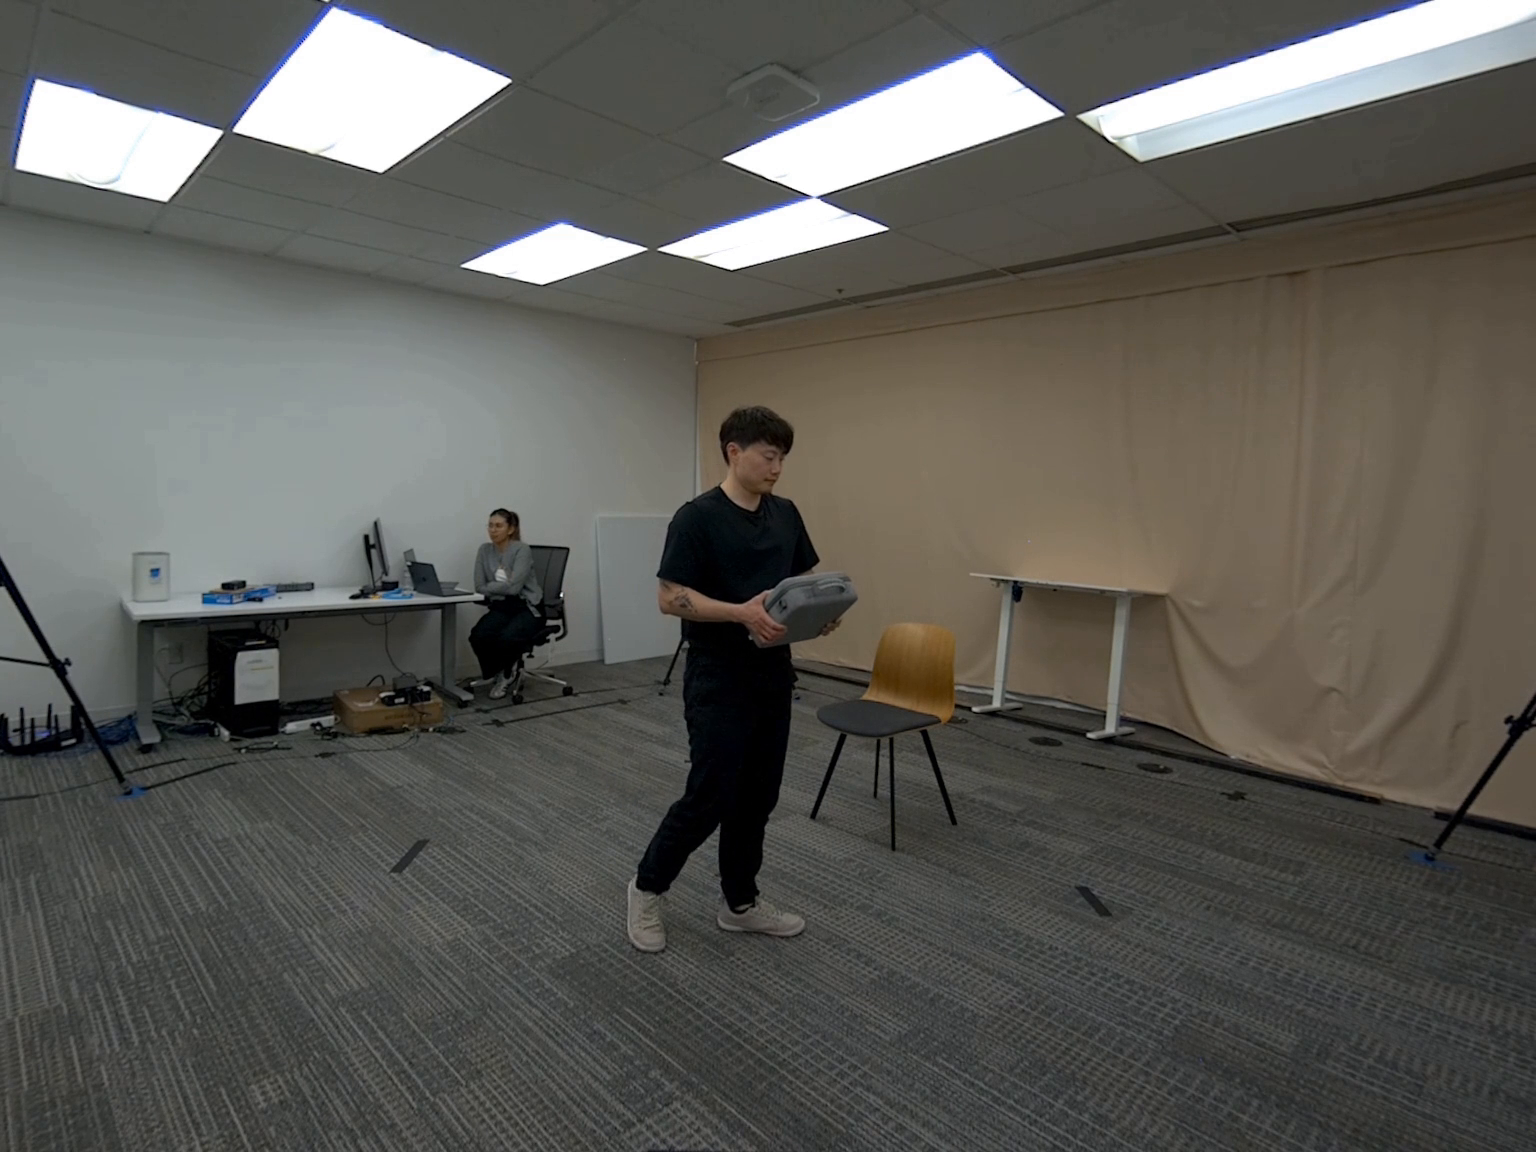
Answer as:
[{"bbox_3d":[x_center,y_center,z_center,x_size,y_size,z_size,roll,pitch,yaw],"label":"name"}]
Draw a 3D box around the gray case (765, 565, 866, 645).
[{"bbox_3d":[0.088,0.090,2.427,0.252,0.106,0.261,-7,-24,-39],"label":"gray case"}]
